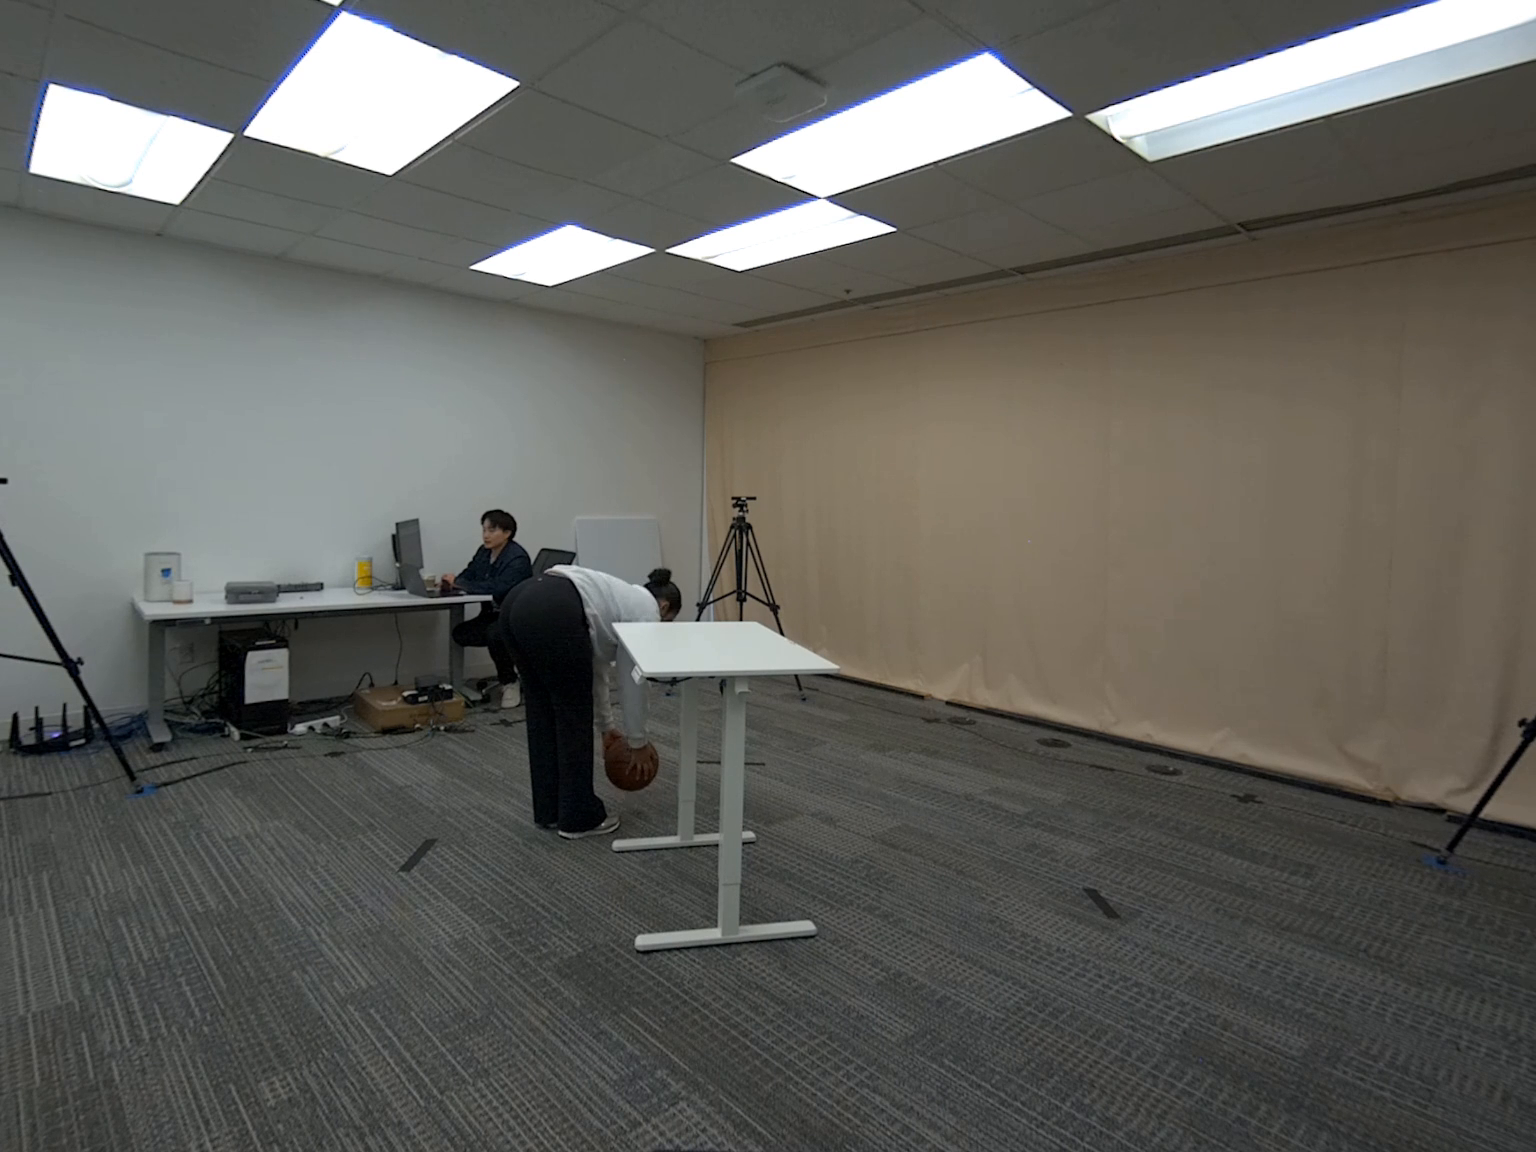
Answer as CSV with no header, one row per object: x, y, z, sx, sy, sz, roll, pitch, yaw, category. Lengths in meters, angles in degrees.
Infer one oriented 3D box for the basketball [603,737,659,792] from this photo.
-0.608,0.804,3.705,0.236,0.235,0.237,1,4,-1,basketball
